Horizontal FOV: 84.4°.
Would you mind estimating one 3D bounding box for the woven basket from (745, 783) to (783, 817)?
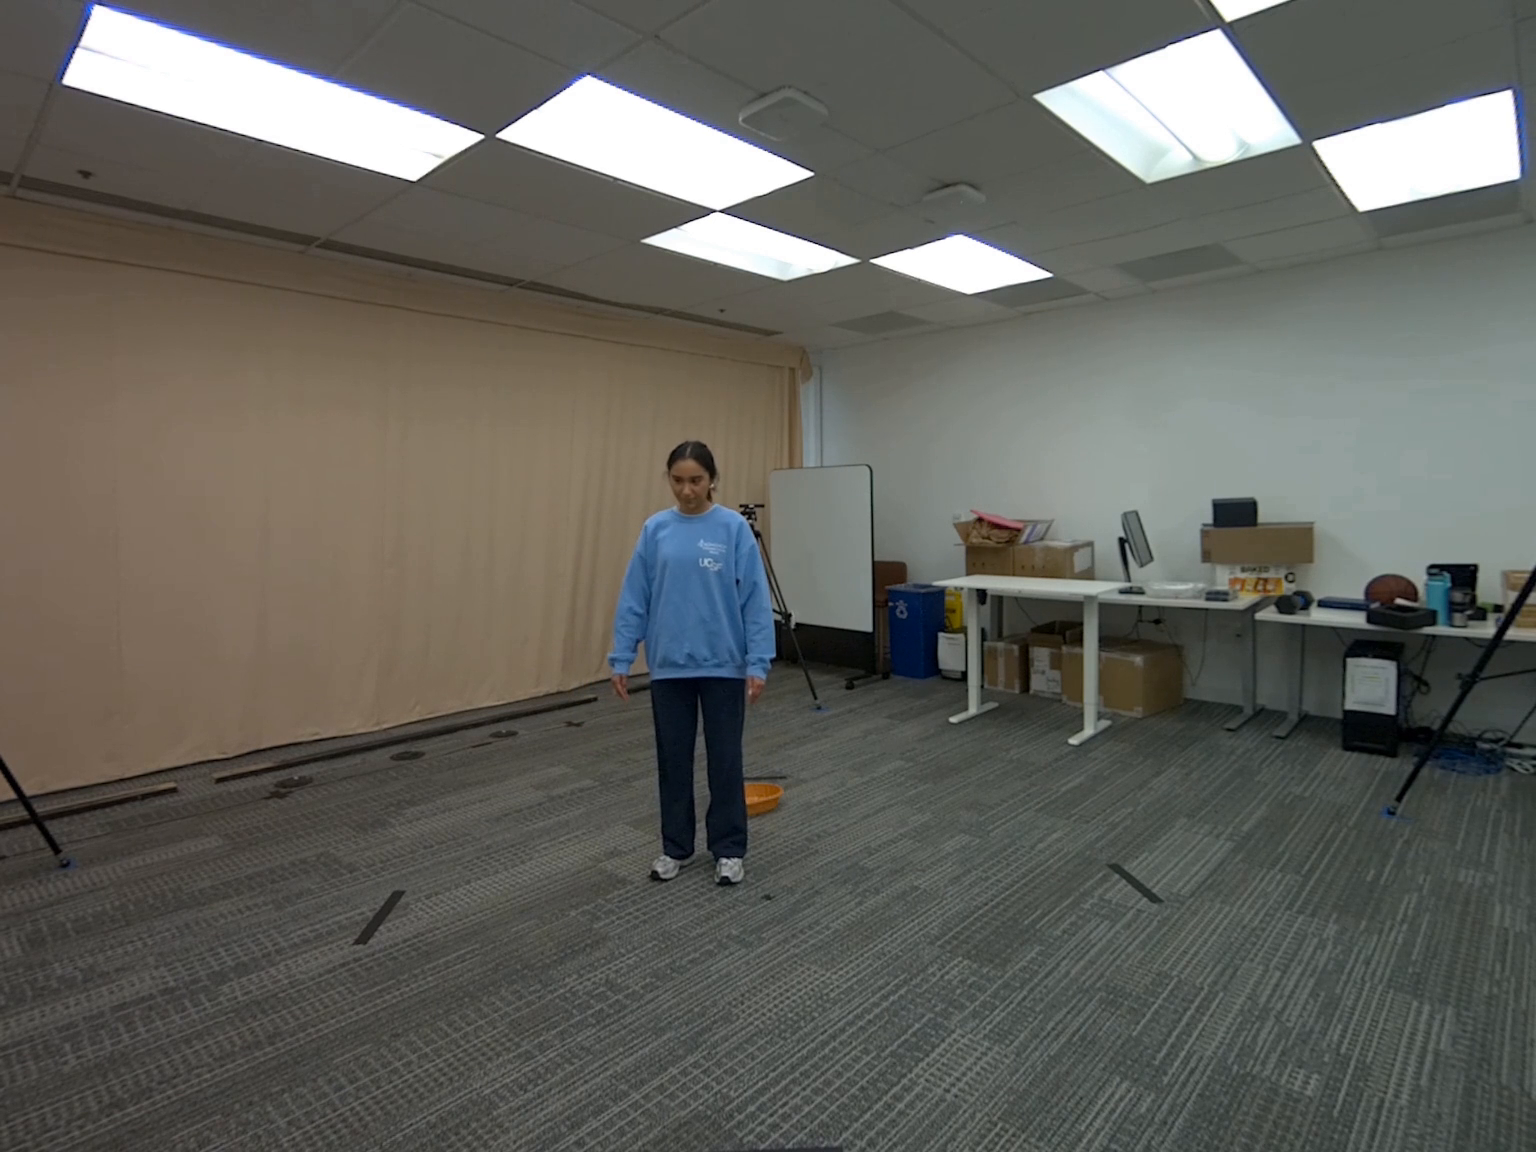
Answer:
[{"bbox_3d":[-0.090,1.028,3.863,0.340,0.073,0.260,-4,4,-37],"label":"woven basket"}]
